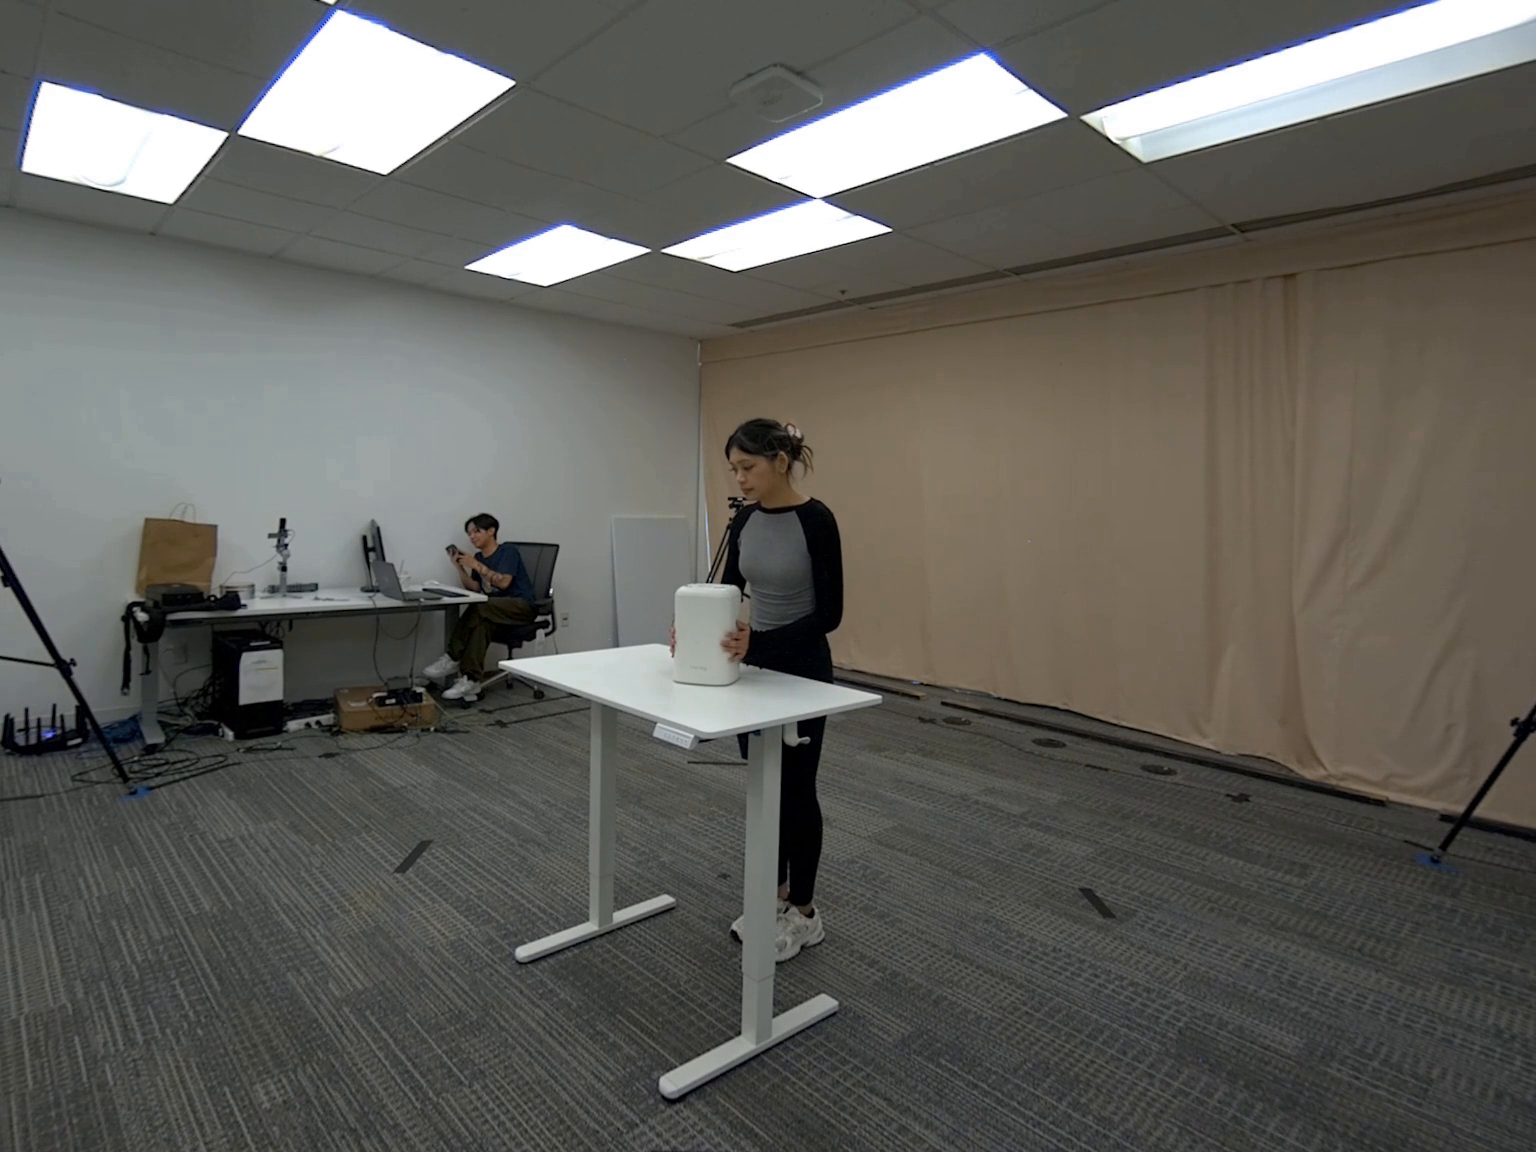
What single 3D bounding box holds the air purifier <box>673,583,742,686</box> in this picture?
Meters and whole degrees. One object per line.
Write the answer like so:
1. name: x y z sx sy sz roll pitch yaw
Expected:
1. air purifier: -0.175 0.160 2.353 0.173 0.265 0.170 2 1 14
